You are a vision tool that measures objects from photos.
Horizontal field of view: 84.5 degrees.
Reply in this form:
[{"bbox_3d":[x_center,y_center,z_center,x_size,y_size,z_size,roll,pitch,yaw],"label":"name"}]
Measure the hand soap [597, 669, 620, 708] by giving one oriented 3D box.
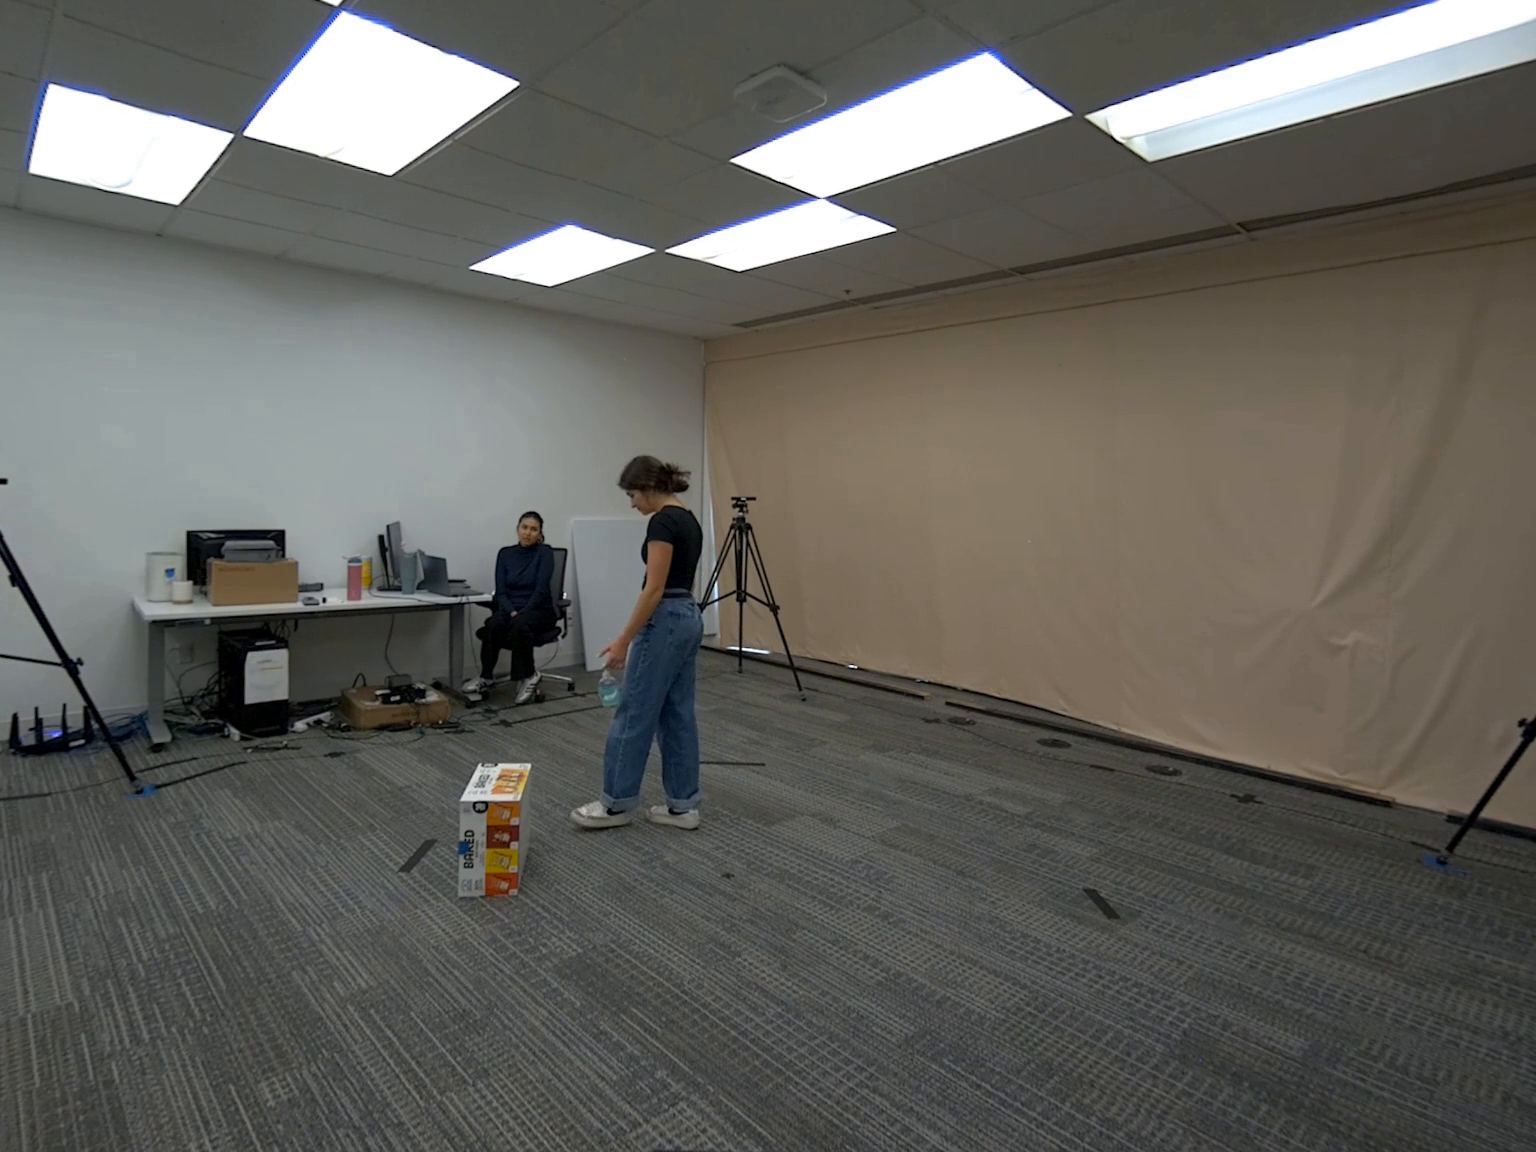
[{"bbox_3d":[-0.640,0.435,3.360,0.084,0.168,0.044,-9,3,-8],"label":"hand soap"}]
